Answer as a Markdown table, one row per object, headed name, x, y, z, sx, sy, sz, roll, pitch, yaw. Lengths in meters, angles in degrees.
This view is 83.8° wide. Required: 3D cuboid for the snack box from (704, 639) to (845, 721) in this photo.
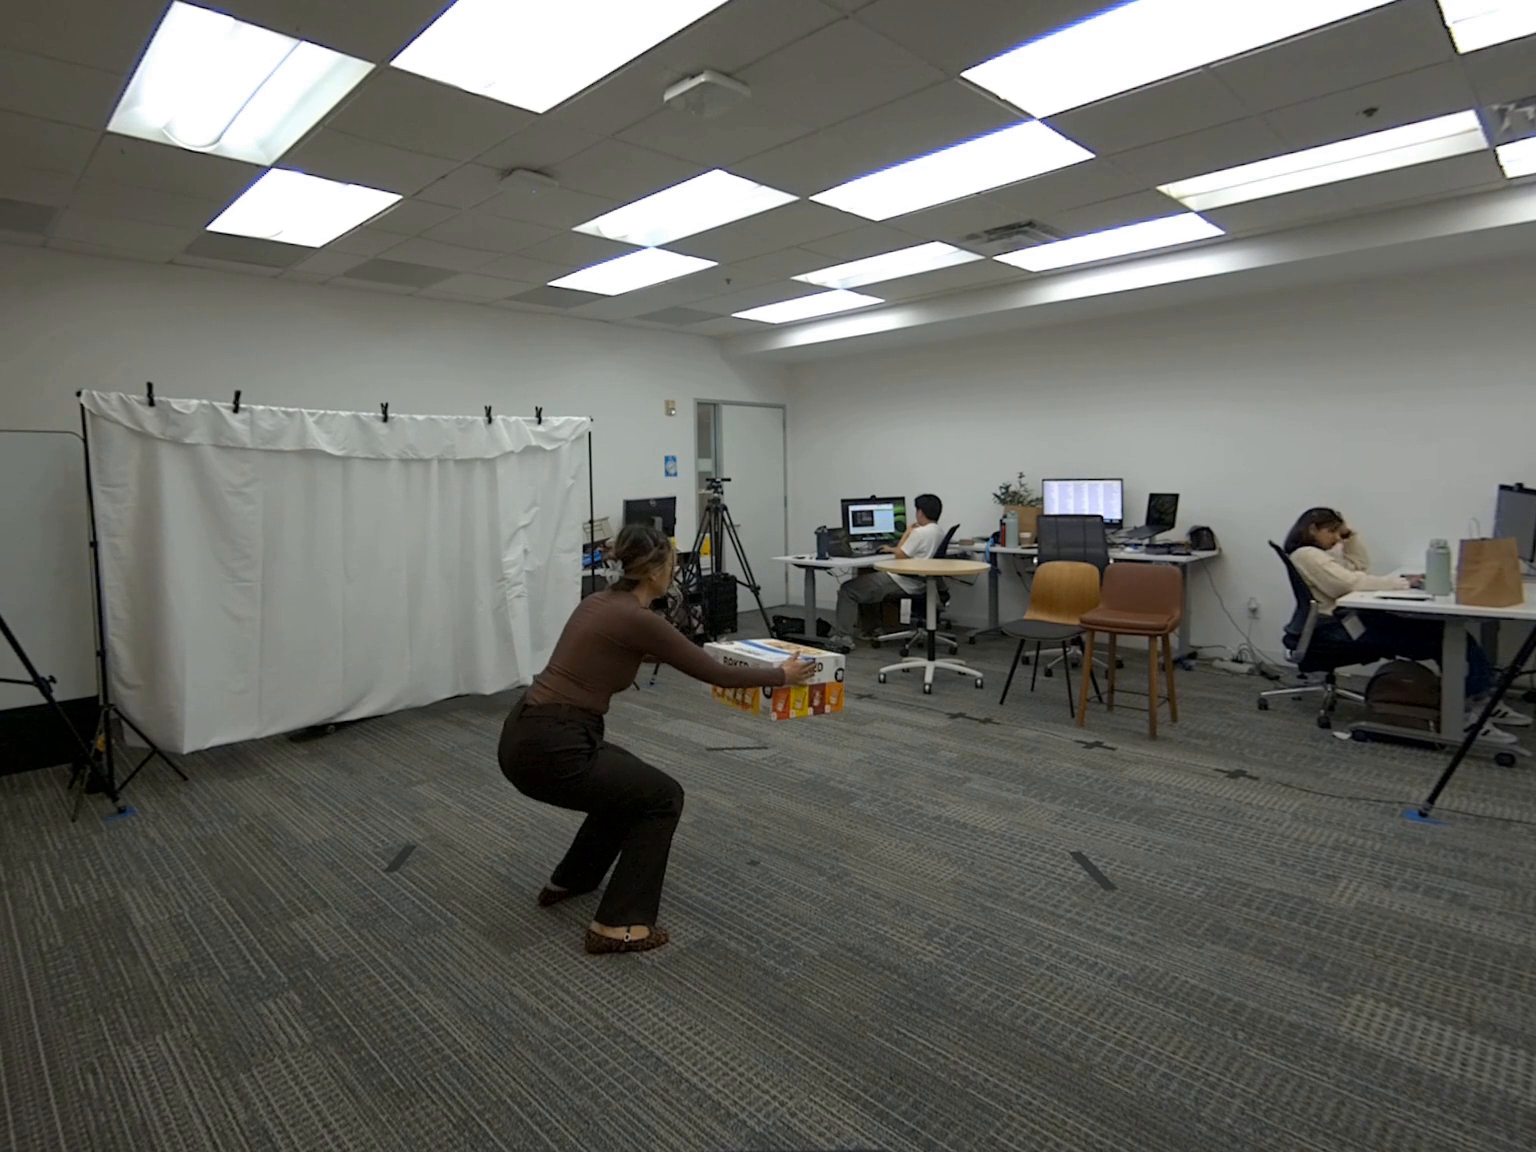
| name | x | y | z | sx | sy | sz | roll | pitch | yaw |
| --- | --- | --- | --- | --- | --- | --- | --- | --- | --- |
| snack box | 0.011 | 0.371 | 3.144 | 0.330 | 0.205 | 0.418 | 0 | 4 | -39 |
